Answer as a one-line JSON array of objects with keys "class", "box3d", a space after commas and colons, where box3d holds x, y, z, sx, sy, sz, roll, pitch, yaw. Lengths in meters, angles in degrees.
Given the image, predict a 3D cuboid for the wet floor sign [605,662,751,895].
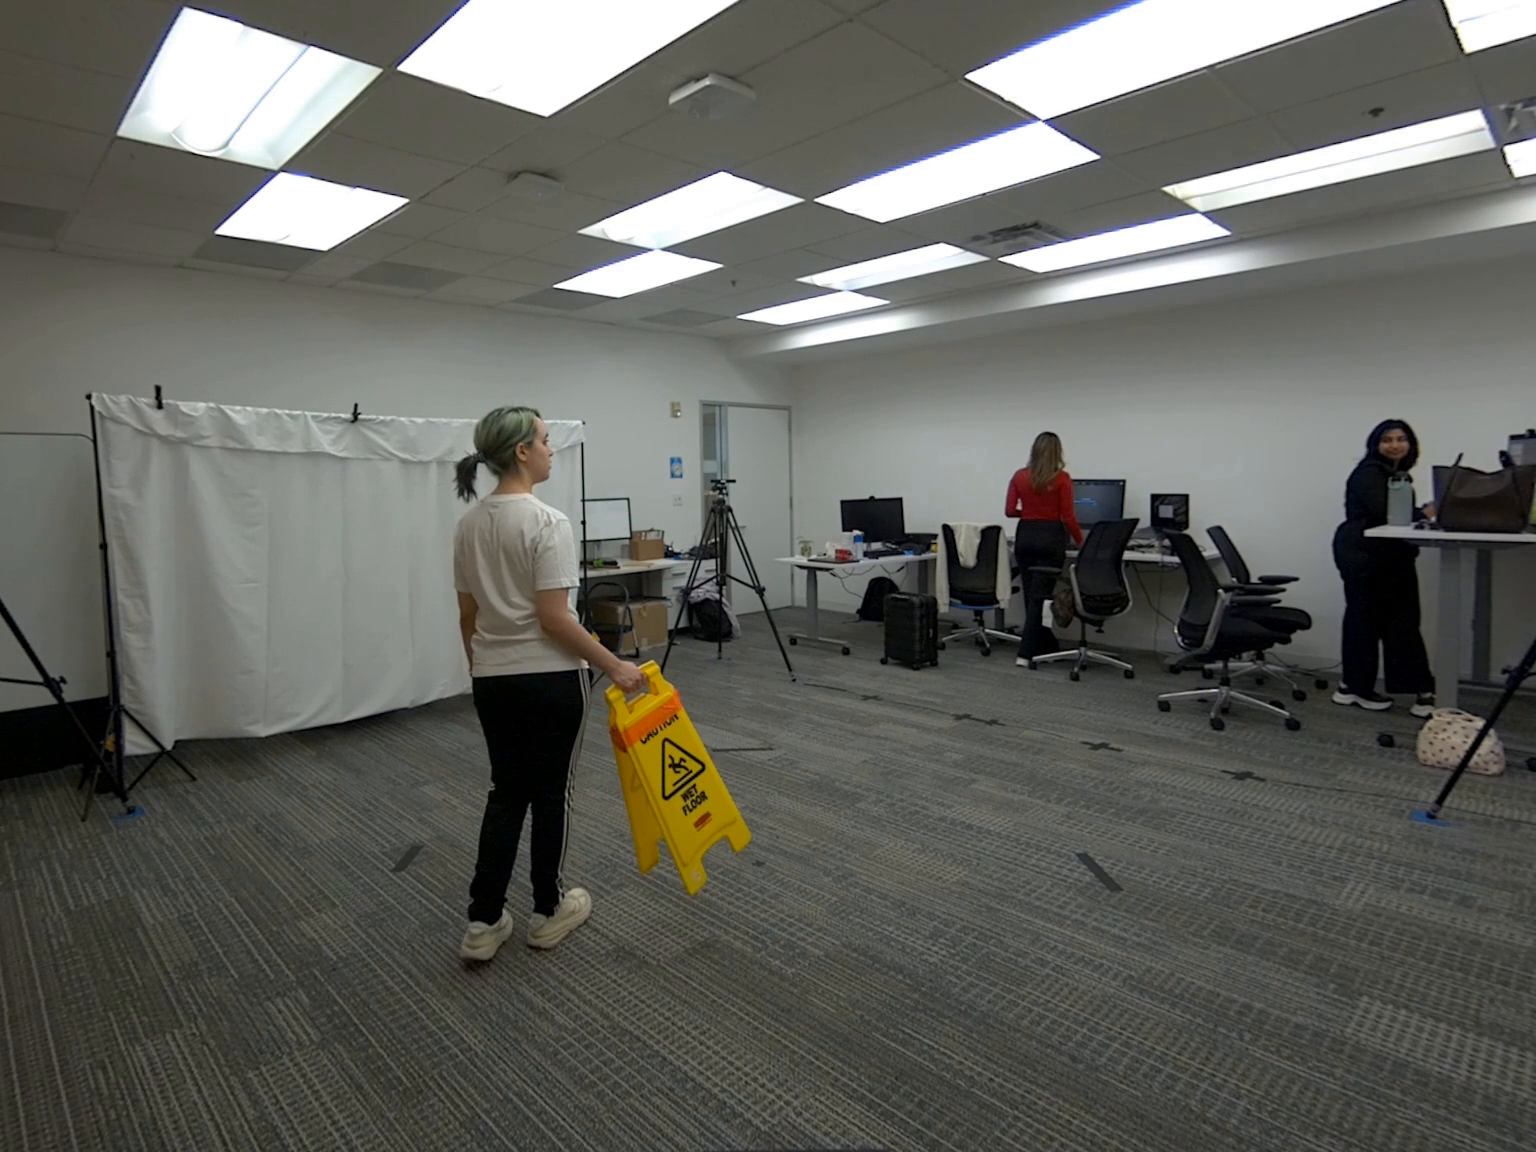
[{"class": "wet floor sign", "box3d": [-0.319, 0.589, 2.619, 0.298, 0.636, 0.279, -3, 20, 45]}]
